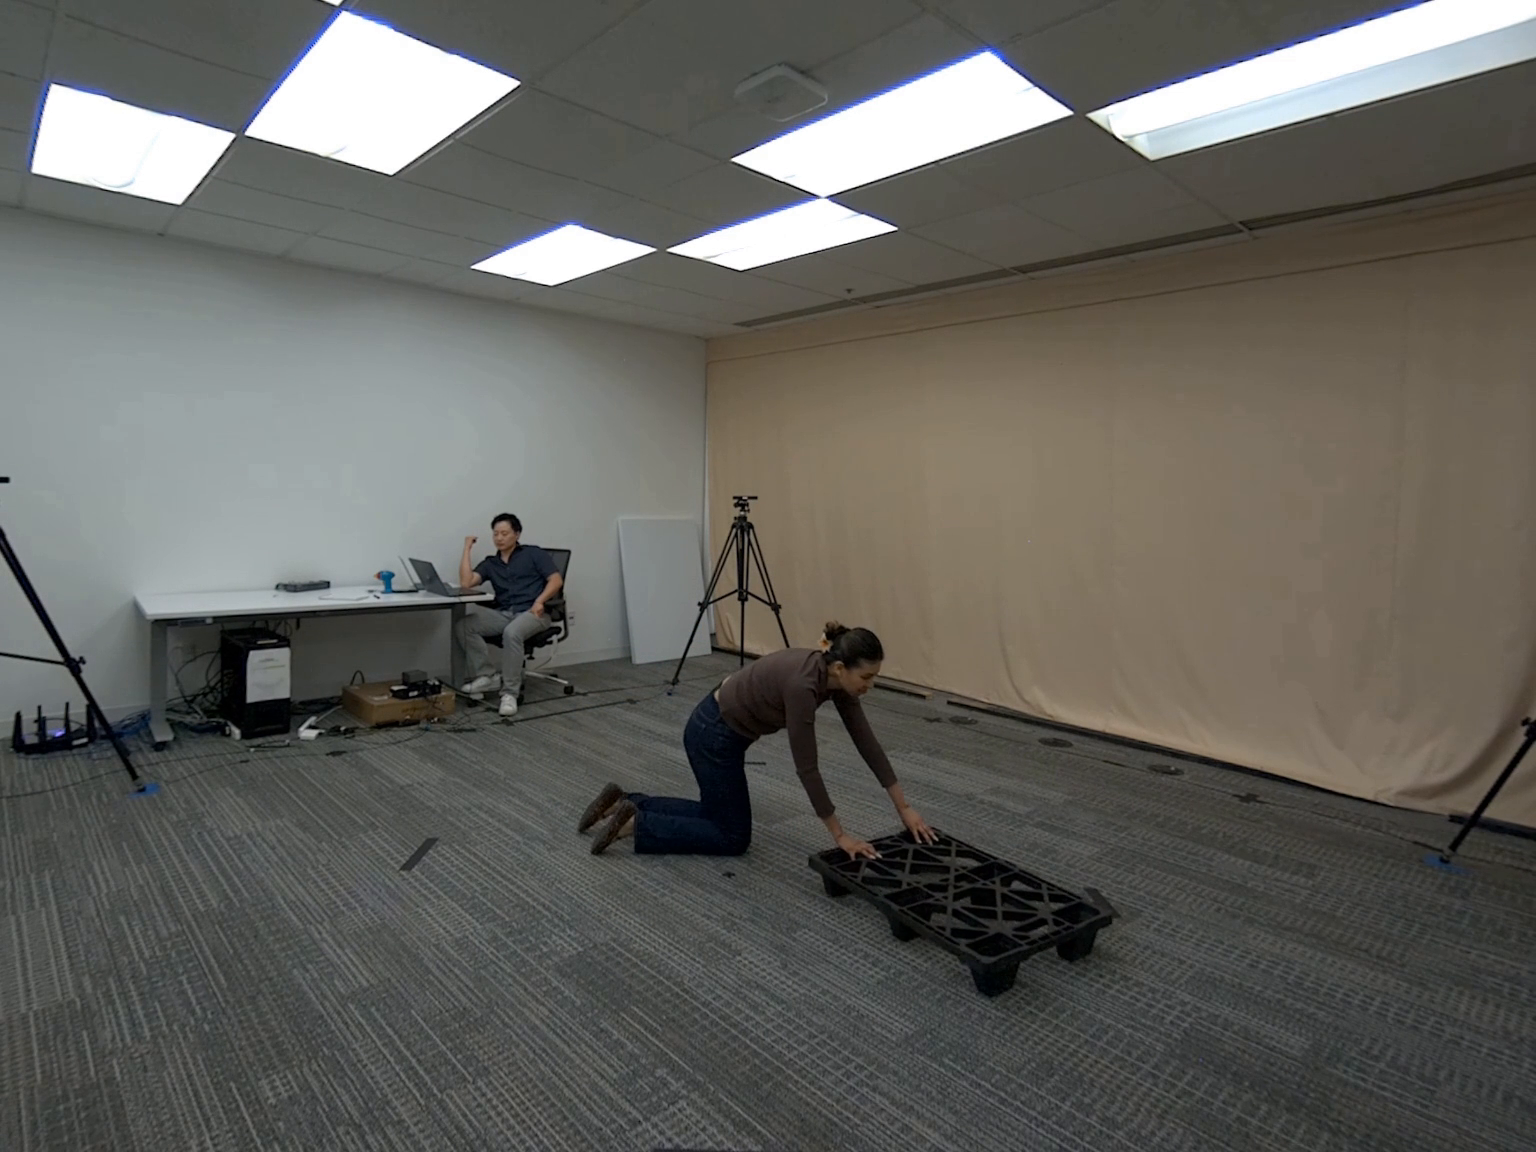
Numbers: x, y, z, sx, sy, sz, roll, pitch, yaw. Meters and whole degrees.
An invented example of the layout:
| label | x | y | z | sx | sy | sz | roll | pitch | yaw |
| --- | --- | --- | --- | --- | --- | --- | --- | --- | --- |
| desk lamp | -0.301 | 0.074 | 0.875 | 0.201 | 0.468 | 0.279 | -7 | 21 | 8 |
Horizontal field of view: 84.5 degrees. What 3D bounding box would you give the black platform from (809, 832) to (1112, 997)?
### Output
| label | x | y | z | sx | sy | sz | roll | pitch | yaw |
| --- | --- | --- | --- | --- | --- | --- | --- | --- | --- |
| black platform | 0.595 | 1.079 | 2.805 | 0.592 | 0.143 | 0.826 | -1 | 6 | -35 |
